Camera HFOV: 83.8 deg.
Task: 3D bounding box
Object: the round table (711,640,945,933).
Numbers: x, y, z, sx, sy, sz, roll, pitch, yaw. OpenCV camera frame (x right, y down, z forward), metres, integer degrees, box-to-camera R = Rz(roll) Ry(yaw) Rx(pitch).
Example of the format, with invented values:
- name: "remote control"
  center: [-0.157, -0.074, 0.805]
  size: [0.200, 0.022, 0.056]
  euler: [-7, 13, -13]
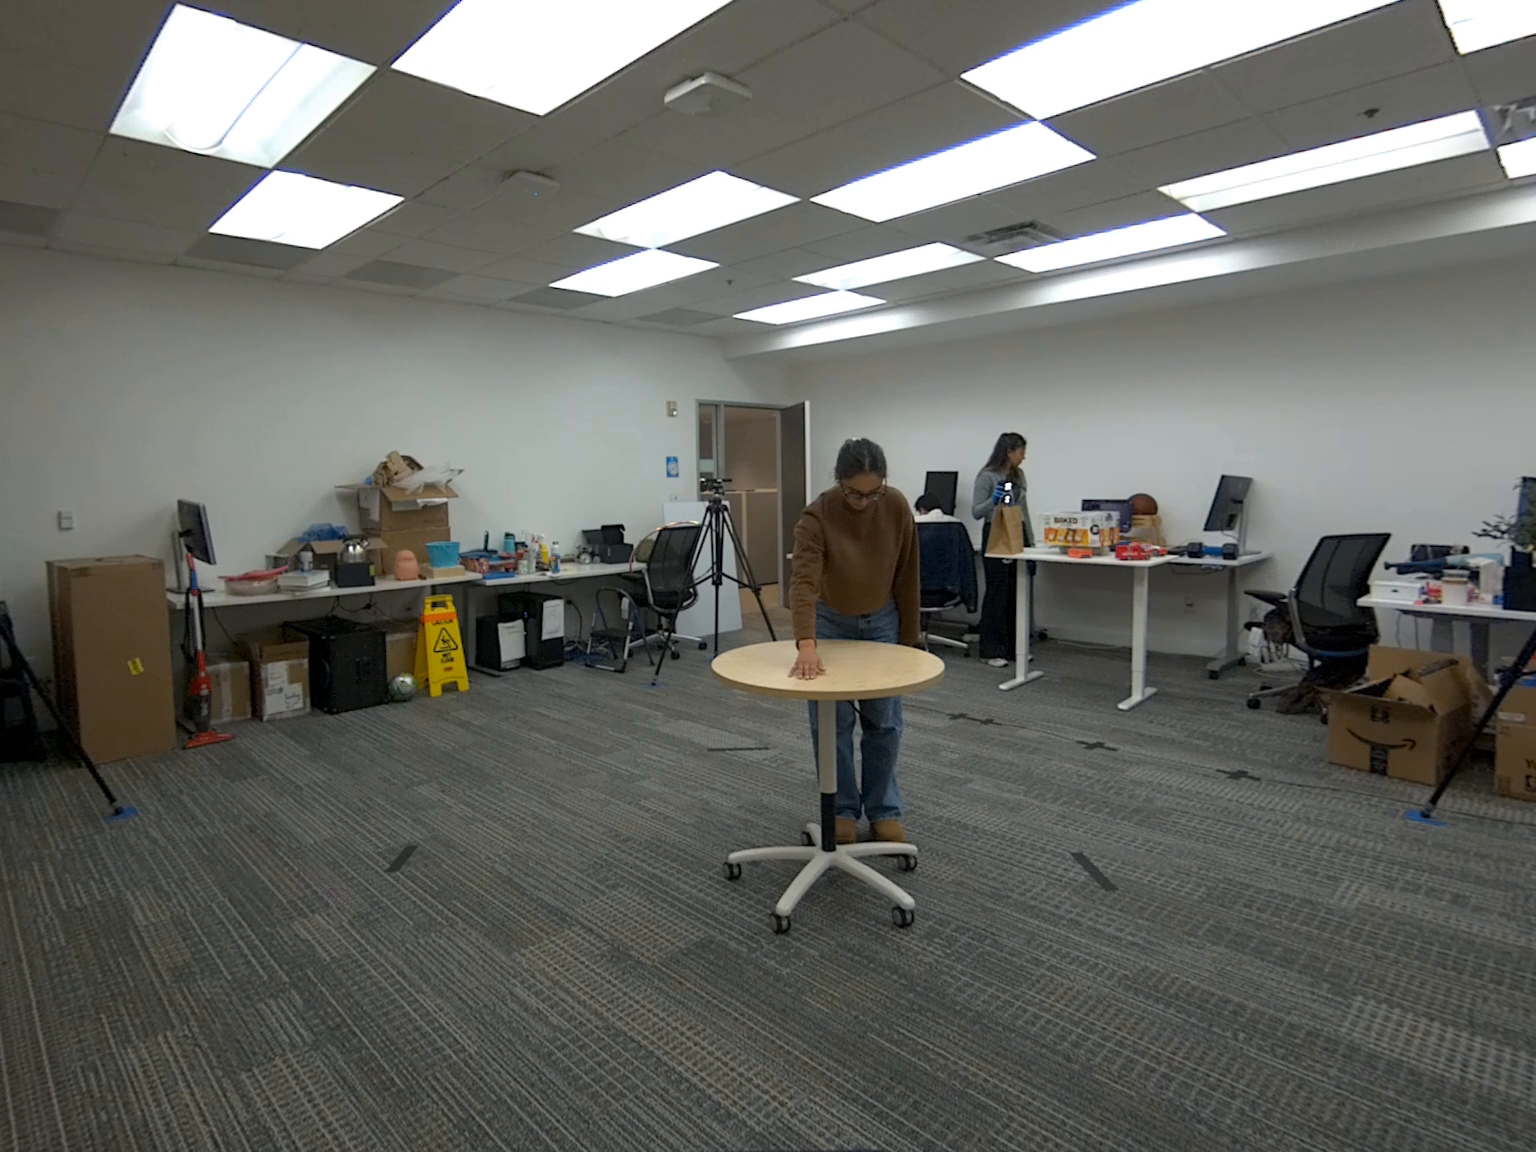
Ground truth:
- name: "round table"
  center: [0.204, 0.679, 2.871]
  size: [0.763, 0.790, 0.768]
  euler: [-1, 5, -2]
